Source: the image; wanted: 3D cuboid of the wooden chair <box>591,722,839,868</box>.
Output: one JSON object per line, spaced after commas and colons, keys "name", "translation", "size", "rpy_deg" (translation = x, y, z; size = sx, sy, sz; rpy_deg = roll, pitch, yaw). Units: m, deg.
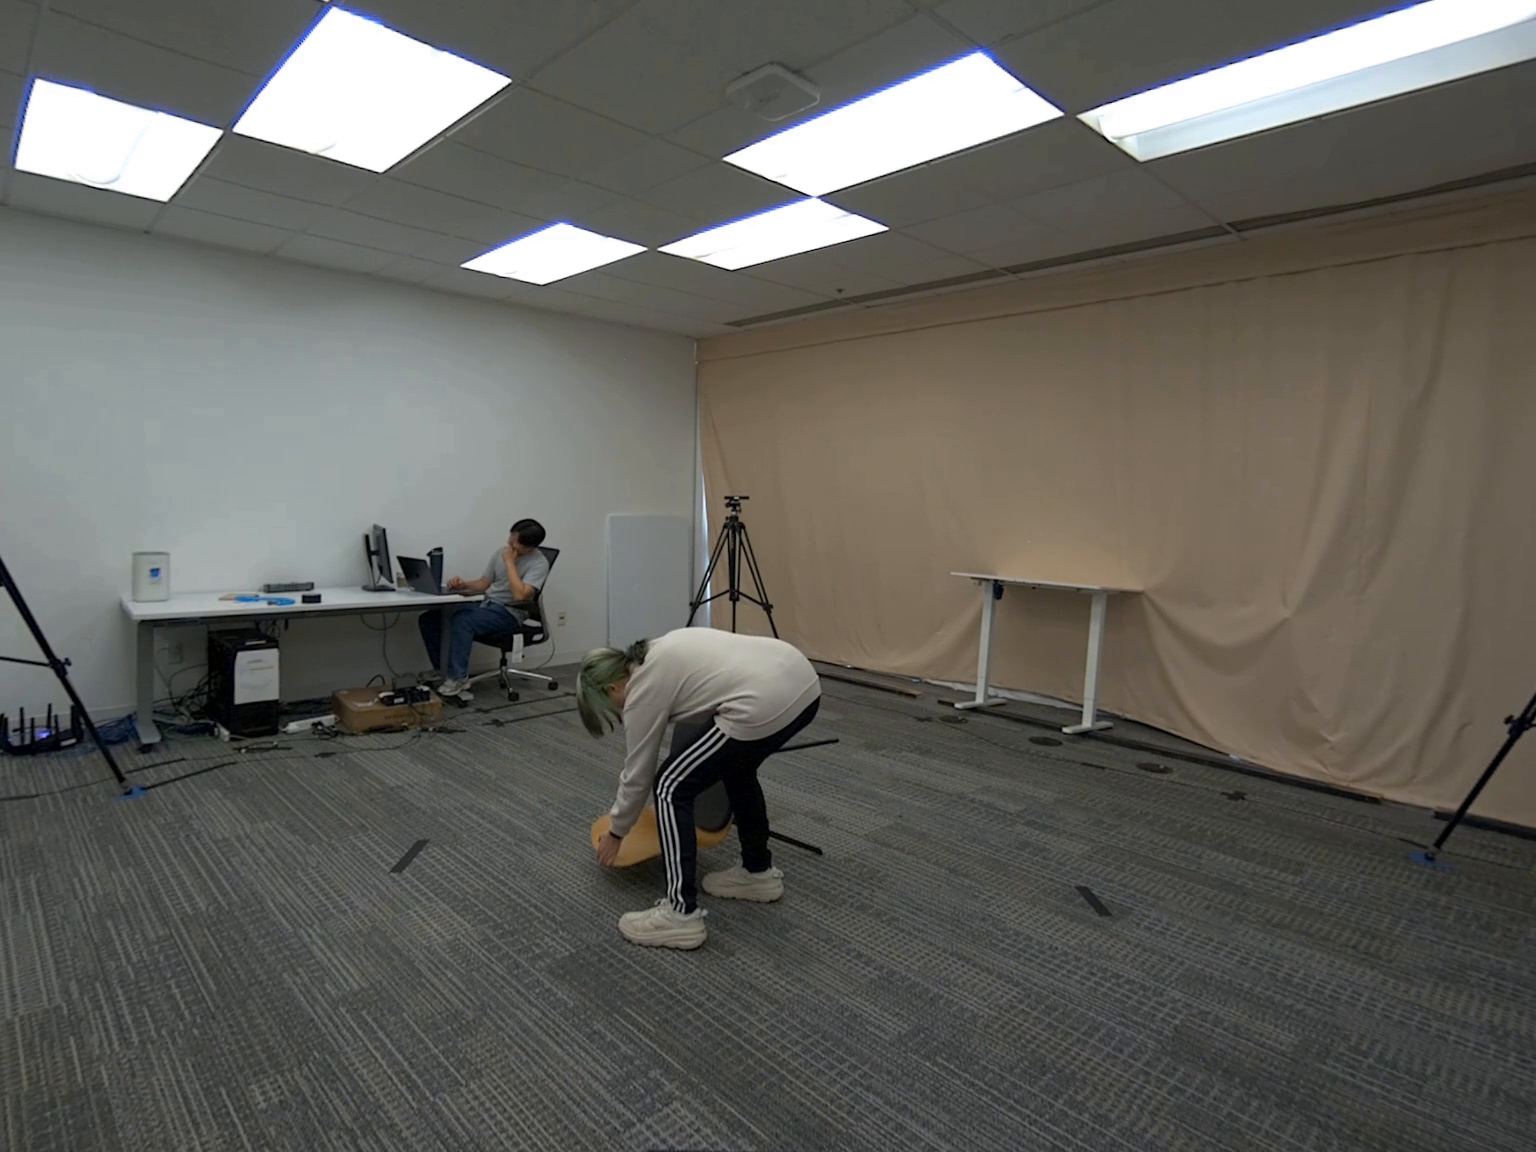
{"name": "wooden chair", "translation": [-0.224, 0.793, 3.266], "size": [0.856, 0.523, 0.490], "rpy_deg": [3, 1, -36]}
